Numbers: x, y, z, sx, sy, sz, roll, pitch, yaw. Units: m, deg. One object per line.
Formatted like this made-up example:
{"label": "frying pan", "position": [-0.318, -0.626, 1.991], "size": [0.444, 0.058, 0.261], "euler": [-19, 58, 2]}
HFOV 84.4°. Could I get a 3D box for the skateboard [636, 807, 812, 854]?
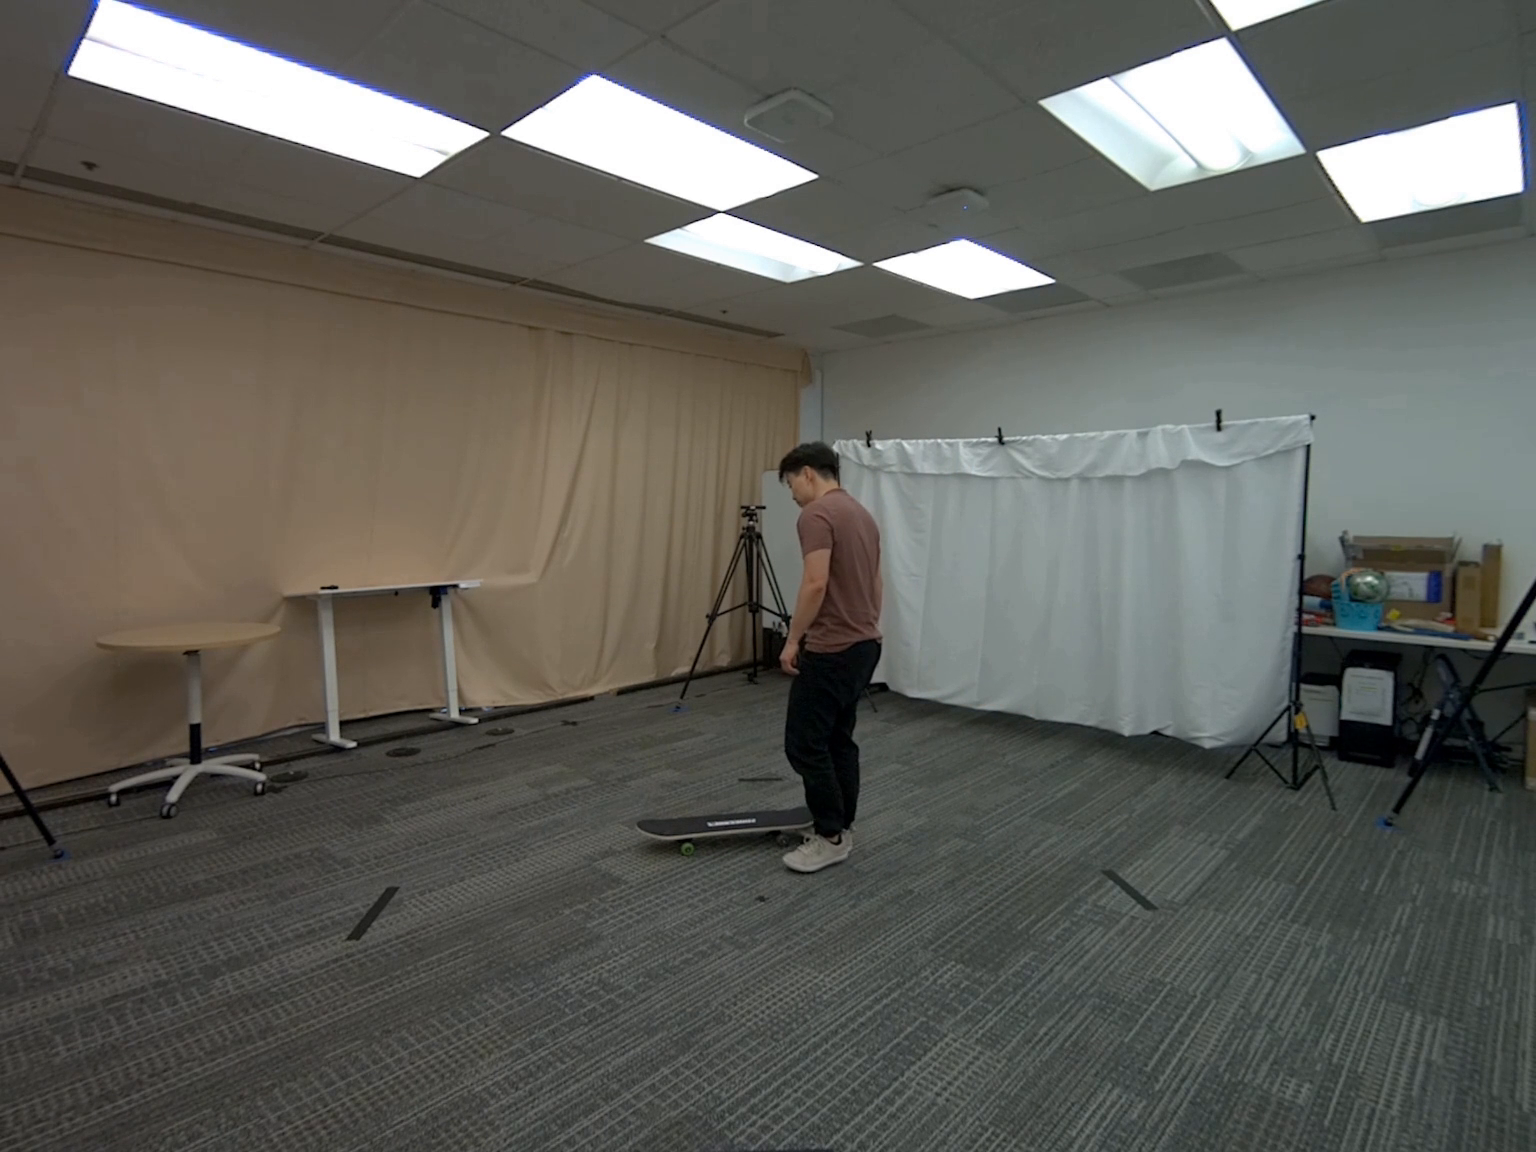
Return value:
{"label": "skateboard", "position": [-0.153, 1.051, 3.471], "size": [0.776, 0.110, 0.196], "euler": [-1, 4, -11]}
